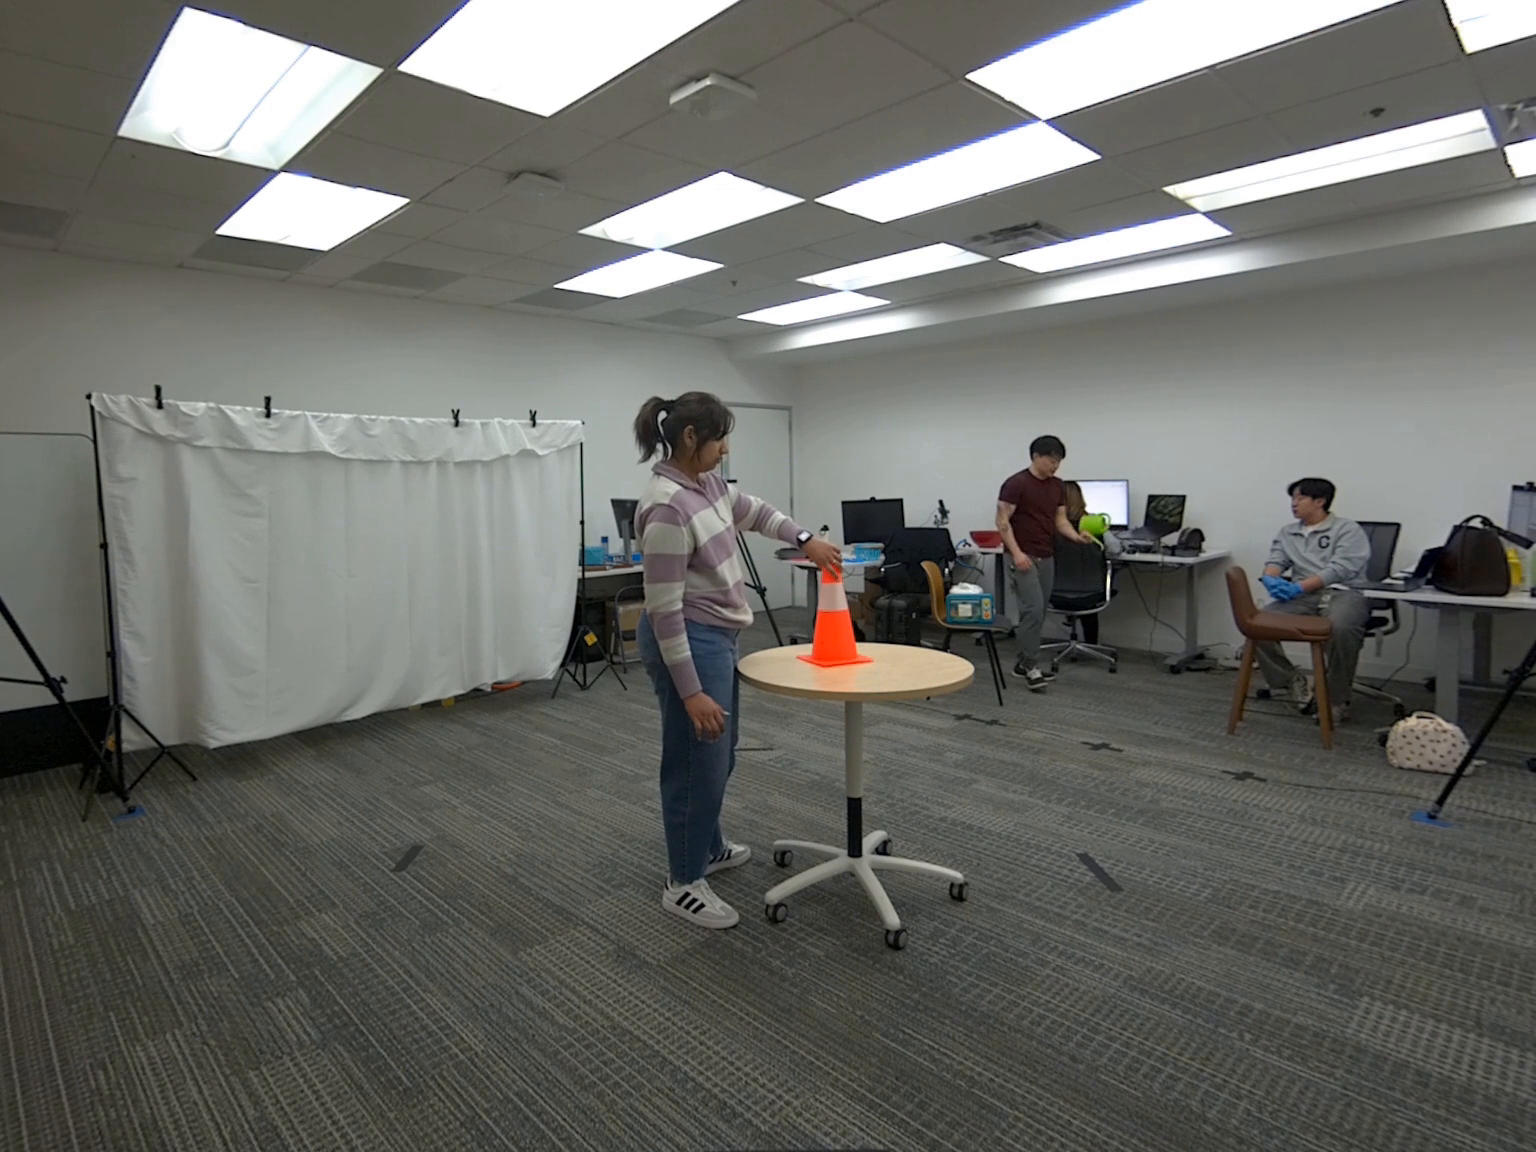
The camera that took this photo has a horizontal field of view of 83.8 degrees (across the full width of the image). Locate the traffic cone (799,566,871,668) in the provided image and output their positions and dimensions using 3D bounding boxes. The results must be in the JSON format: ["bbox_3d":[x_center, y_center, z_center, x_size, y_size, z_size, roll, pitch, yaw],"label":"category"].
[{"bbox_3d":[0.229,0.091,2.885,0.200,0.383,0.208,-1,2,-26],"label":"traffic cone"}]
